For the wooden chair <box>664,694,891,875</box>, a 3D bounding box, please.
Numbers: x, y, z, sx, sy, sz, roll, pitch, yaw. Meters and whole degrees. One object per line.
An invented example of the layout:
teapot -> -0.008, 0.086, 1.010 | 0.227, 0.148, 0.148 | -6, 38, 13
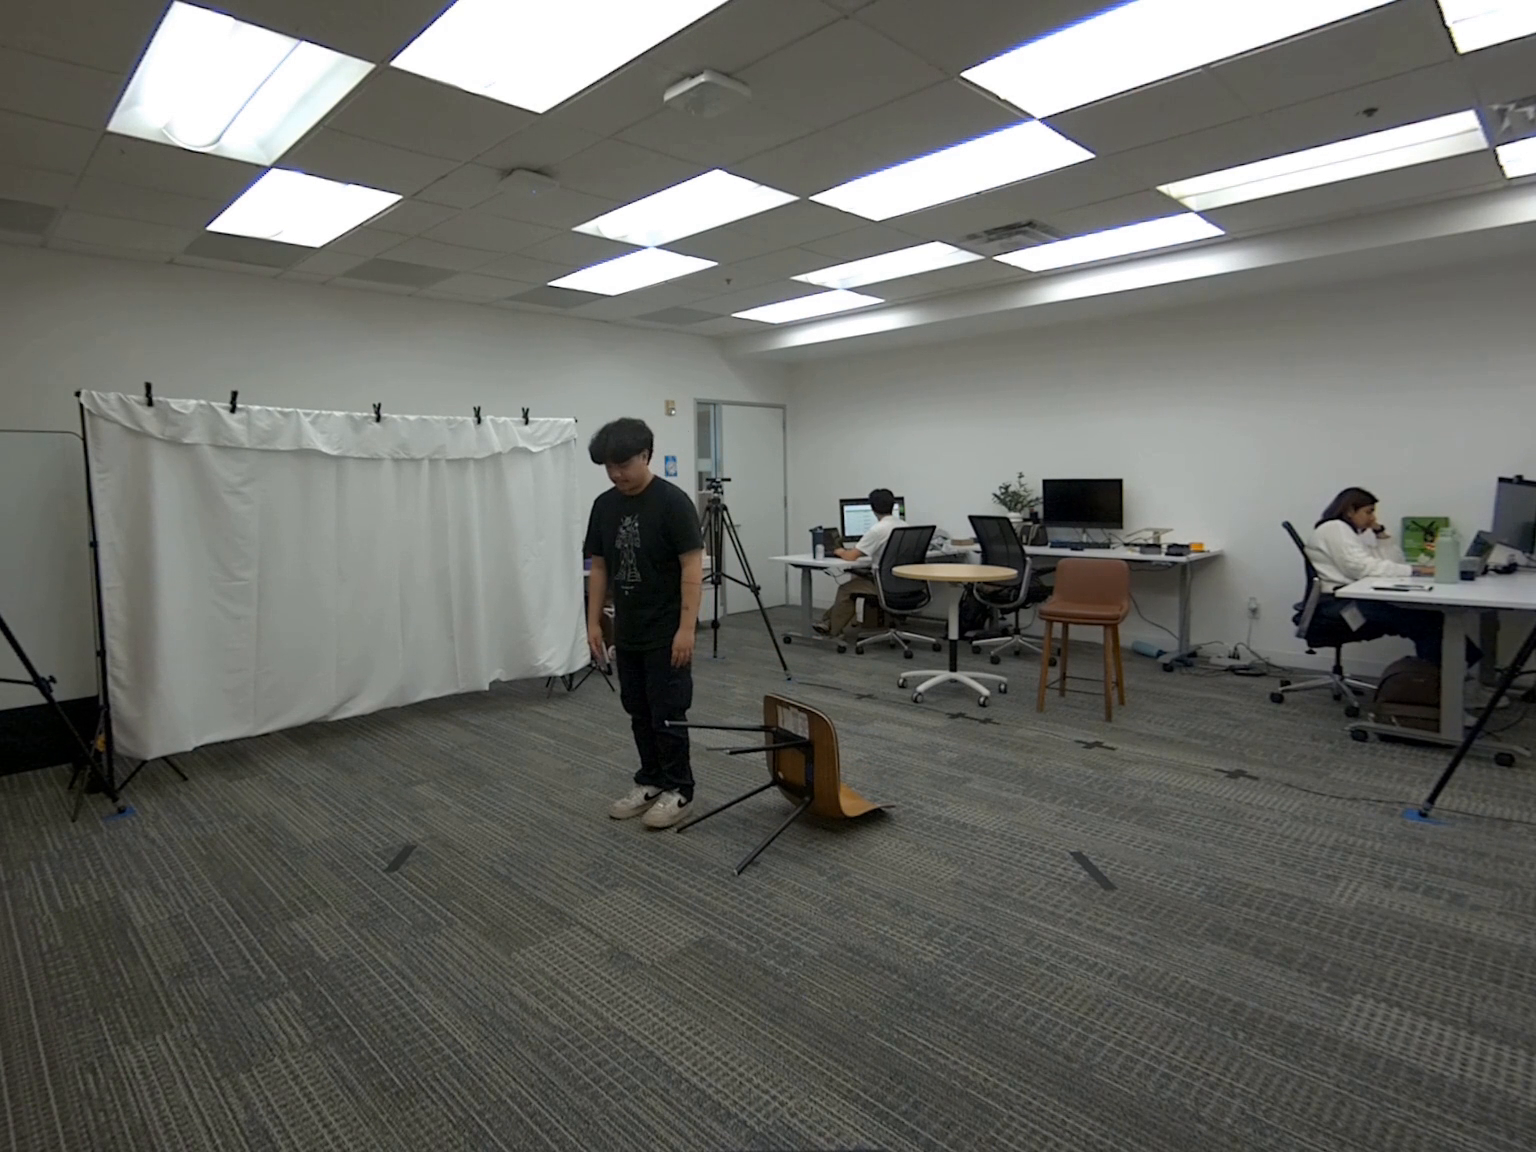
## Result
wooden chair -> 0.093, 0.750, 3.391 | 0.856, 0.521, 0.492 | -4, 5, -33
